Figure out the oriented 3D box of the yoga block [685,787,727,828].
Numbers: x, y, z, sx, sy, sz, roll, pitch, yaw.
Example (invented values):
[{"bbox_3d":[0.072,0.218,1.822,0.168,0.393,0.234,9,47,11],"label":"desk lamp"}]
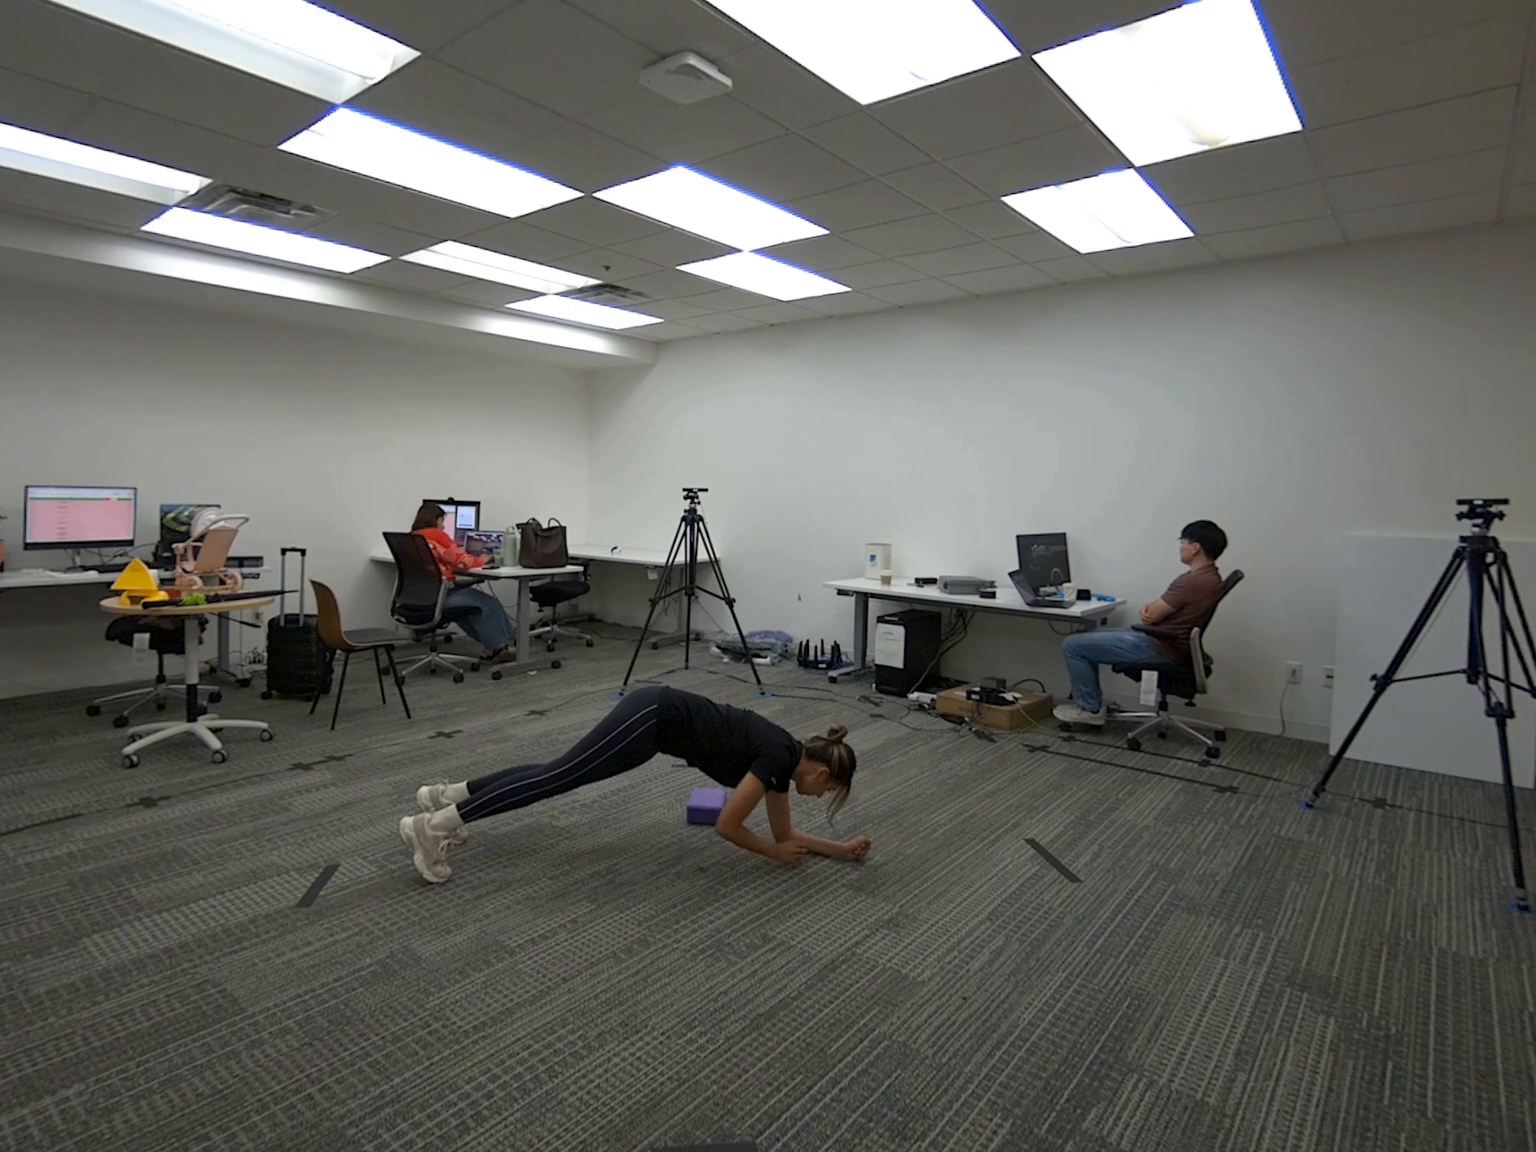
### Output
[{"bbox_3d":[-0.268,0.977,3.633,0.150,0.076,0.229,1,5,5],"label":"yoga block"}]
